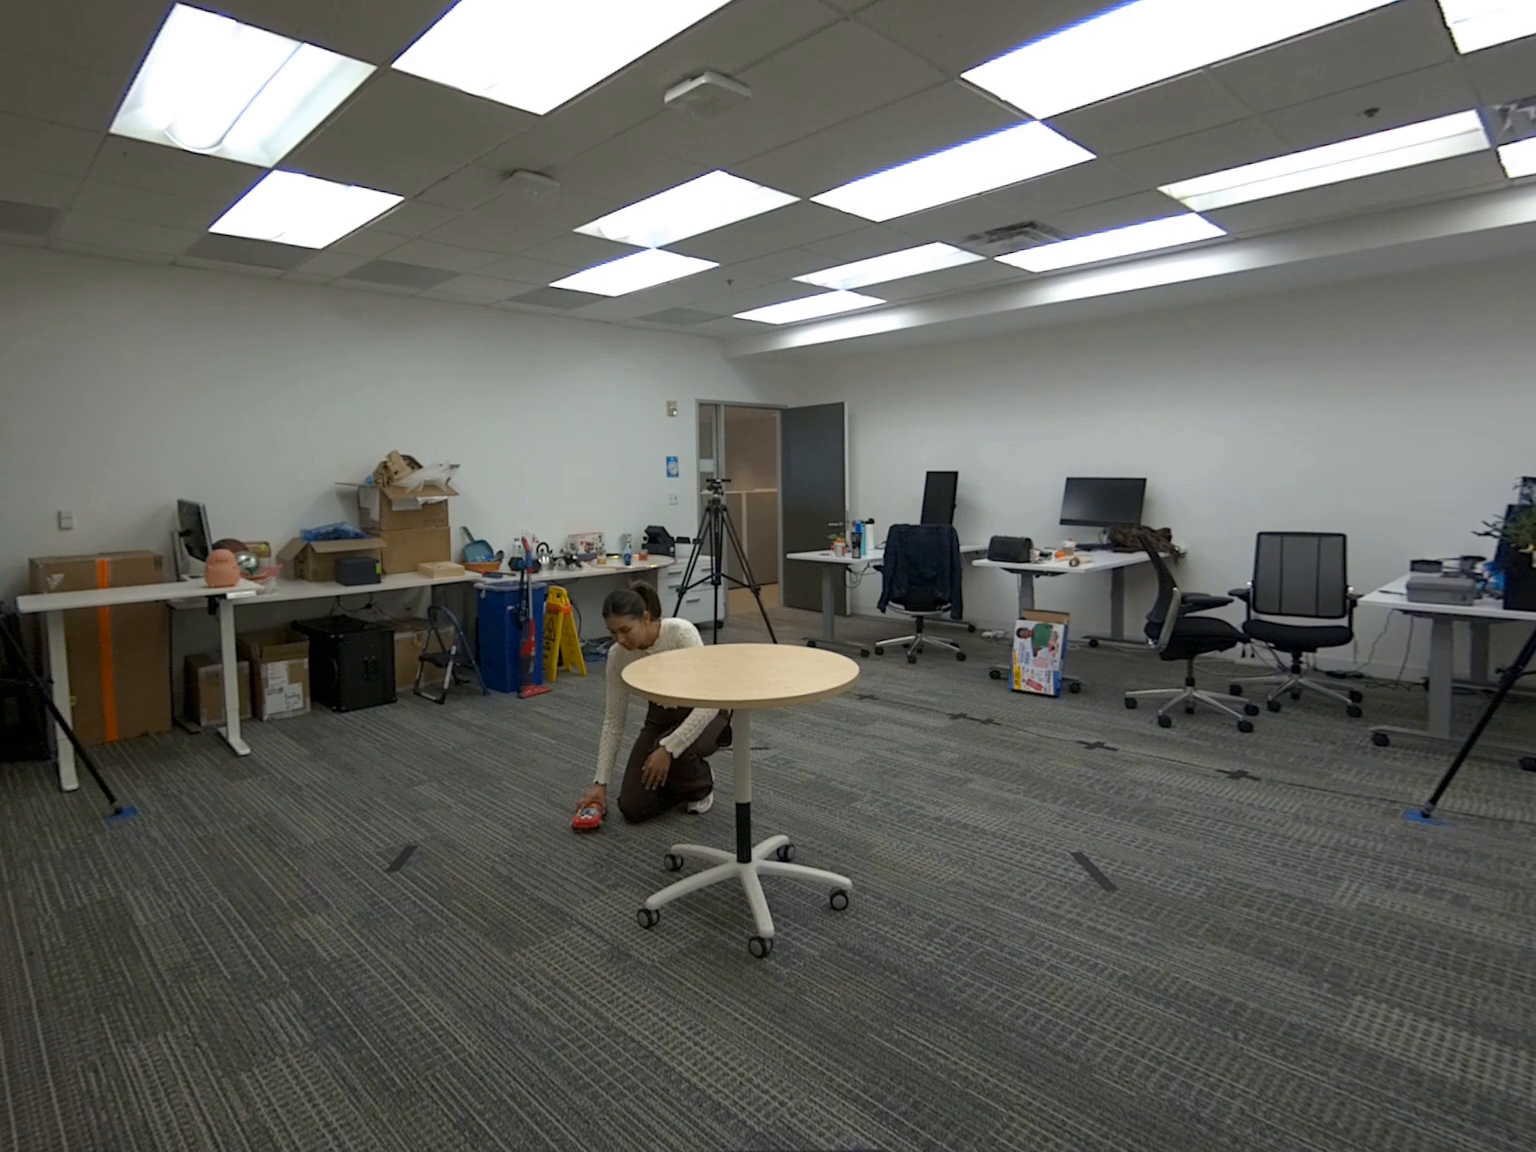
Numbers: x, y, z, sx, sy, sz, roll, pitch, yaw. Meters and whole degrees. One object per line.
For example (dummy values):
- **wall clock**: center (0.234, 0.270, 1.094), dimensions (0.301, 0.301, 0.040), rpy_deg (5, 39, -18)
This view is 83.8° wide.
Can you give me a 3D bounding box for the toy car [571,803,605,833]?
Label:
- **toy car**: center (-0.727, 0.970, 3.498), dimensions (0.130, 0.082, 0.258), rpy_deg (-4, 14, -1)
